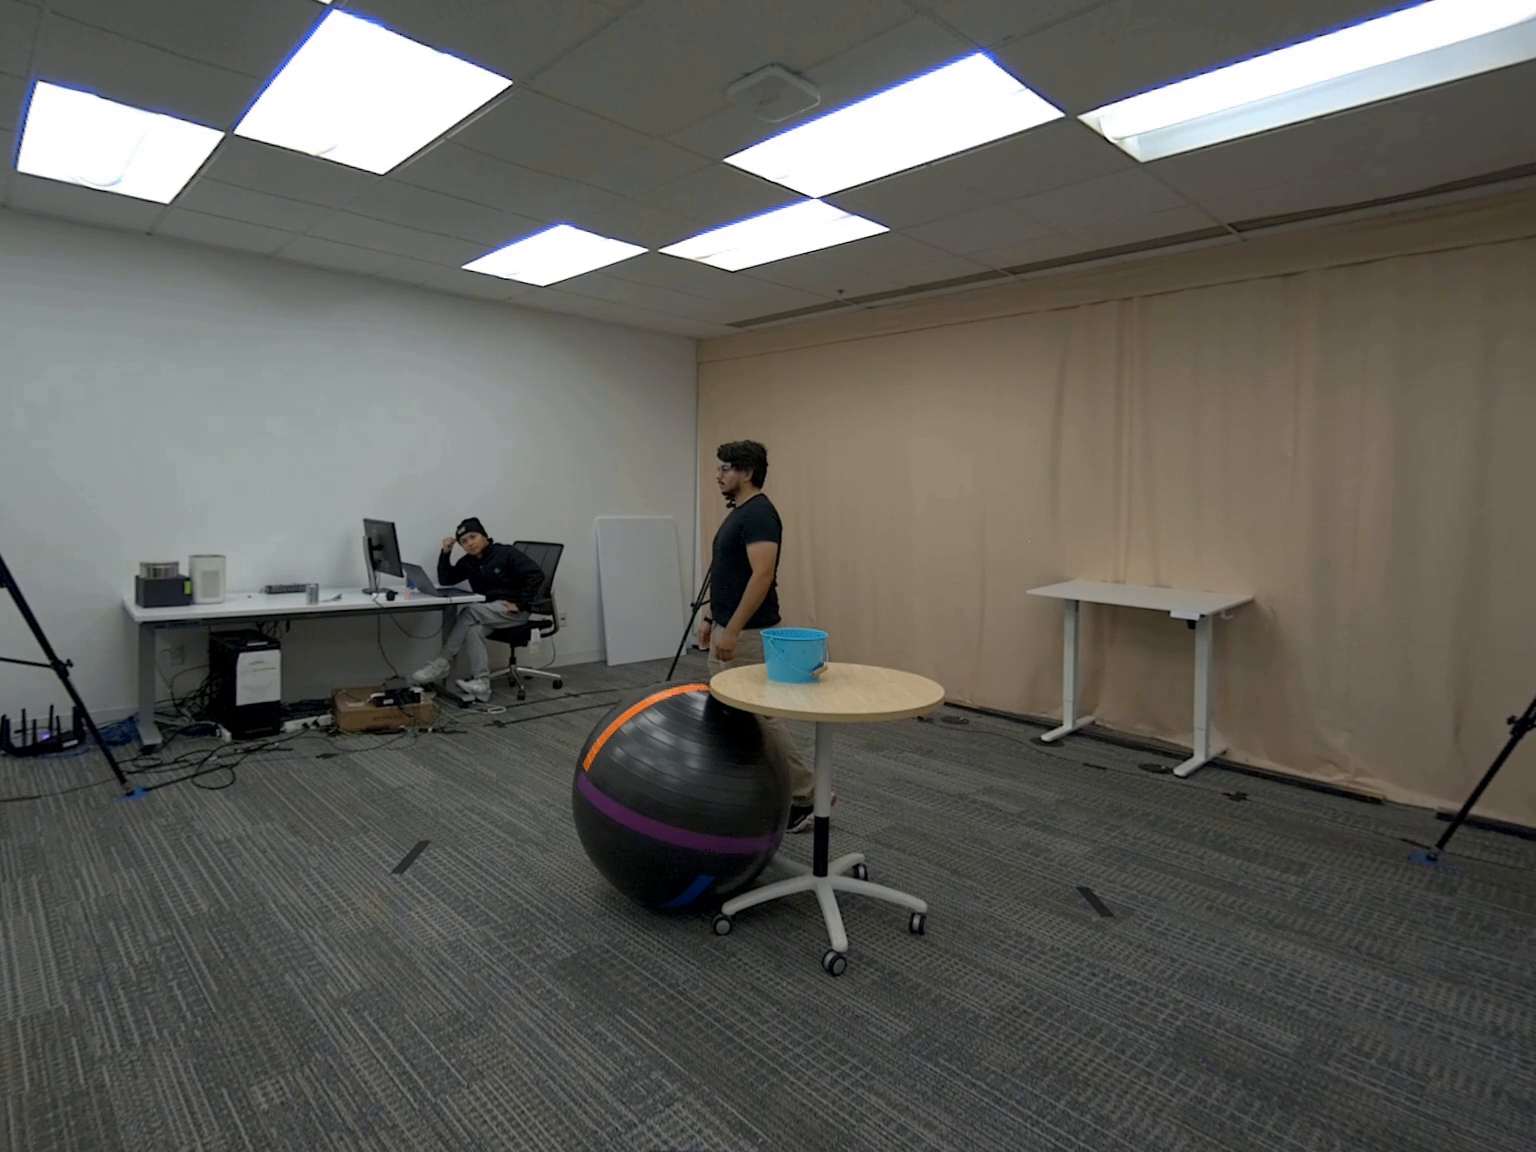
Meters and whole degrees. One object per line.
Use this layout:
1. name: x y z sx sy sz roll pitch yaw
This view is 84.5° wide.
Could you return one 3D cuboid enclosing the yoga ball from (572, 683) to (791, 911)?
1. yoga ball: -0.305 0.753 2.936 0.757 0.756 0.761 1 4 -1
